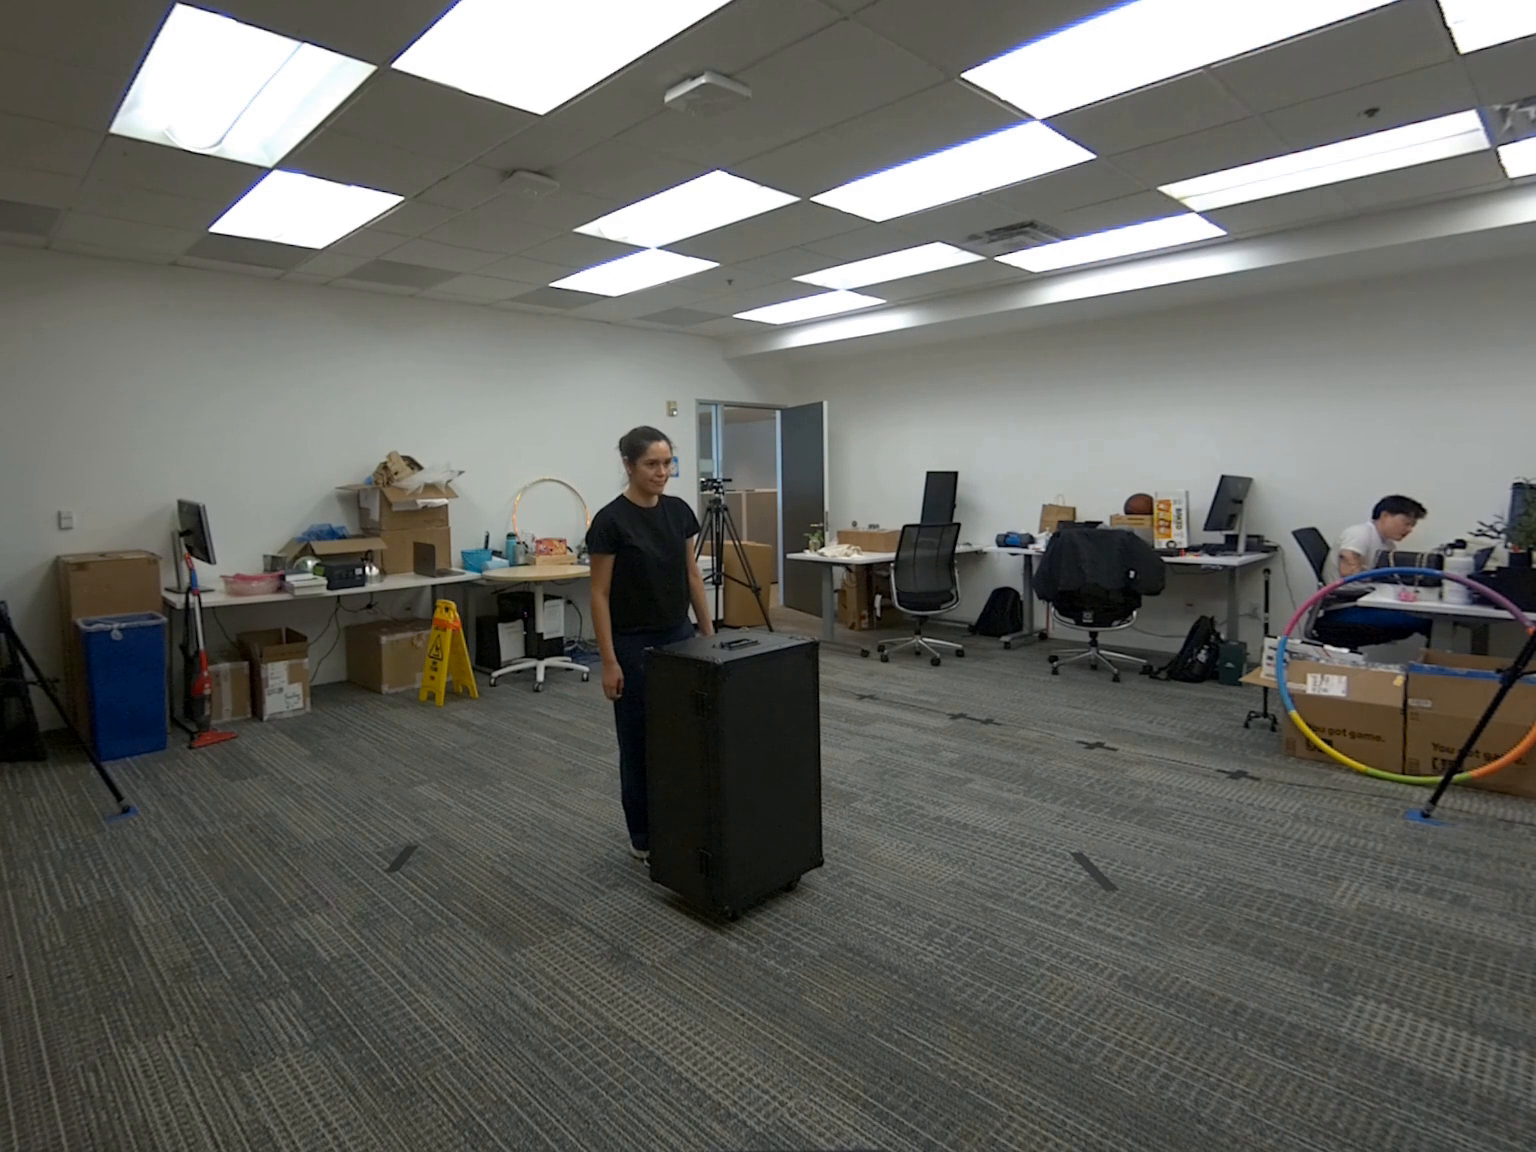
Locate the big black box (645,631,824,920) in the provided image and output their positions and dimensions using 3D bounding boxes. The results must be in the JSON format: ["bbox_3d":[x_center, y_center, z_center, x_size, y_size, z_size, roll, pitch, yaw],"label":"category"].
[{"bbox_3d":[-0.119,0.647,2.874,0.408,0.859,0.507,2,5,44],"label":"big black box"}]
